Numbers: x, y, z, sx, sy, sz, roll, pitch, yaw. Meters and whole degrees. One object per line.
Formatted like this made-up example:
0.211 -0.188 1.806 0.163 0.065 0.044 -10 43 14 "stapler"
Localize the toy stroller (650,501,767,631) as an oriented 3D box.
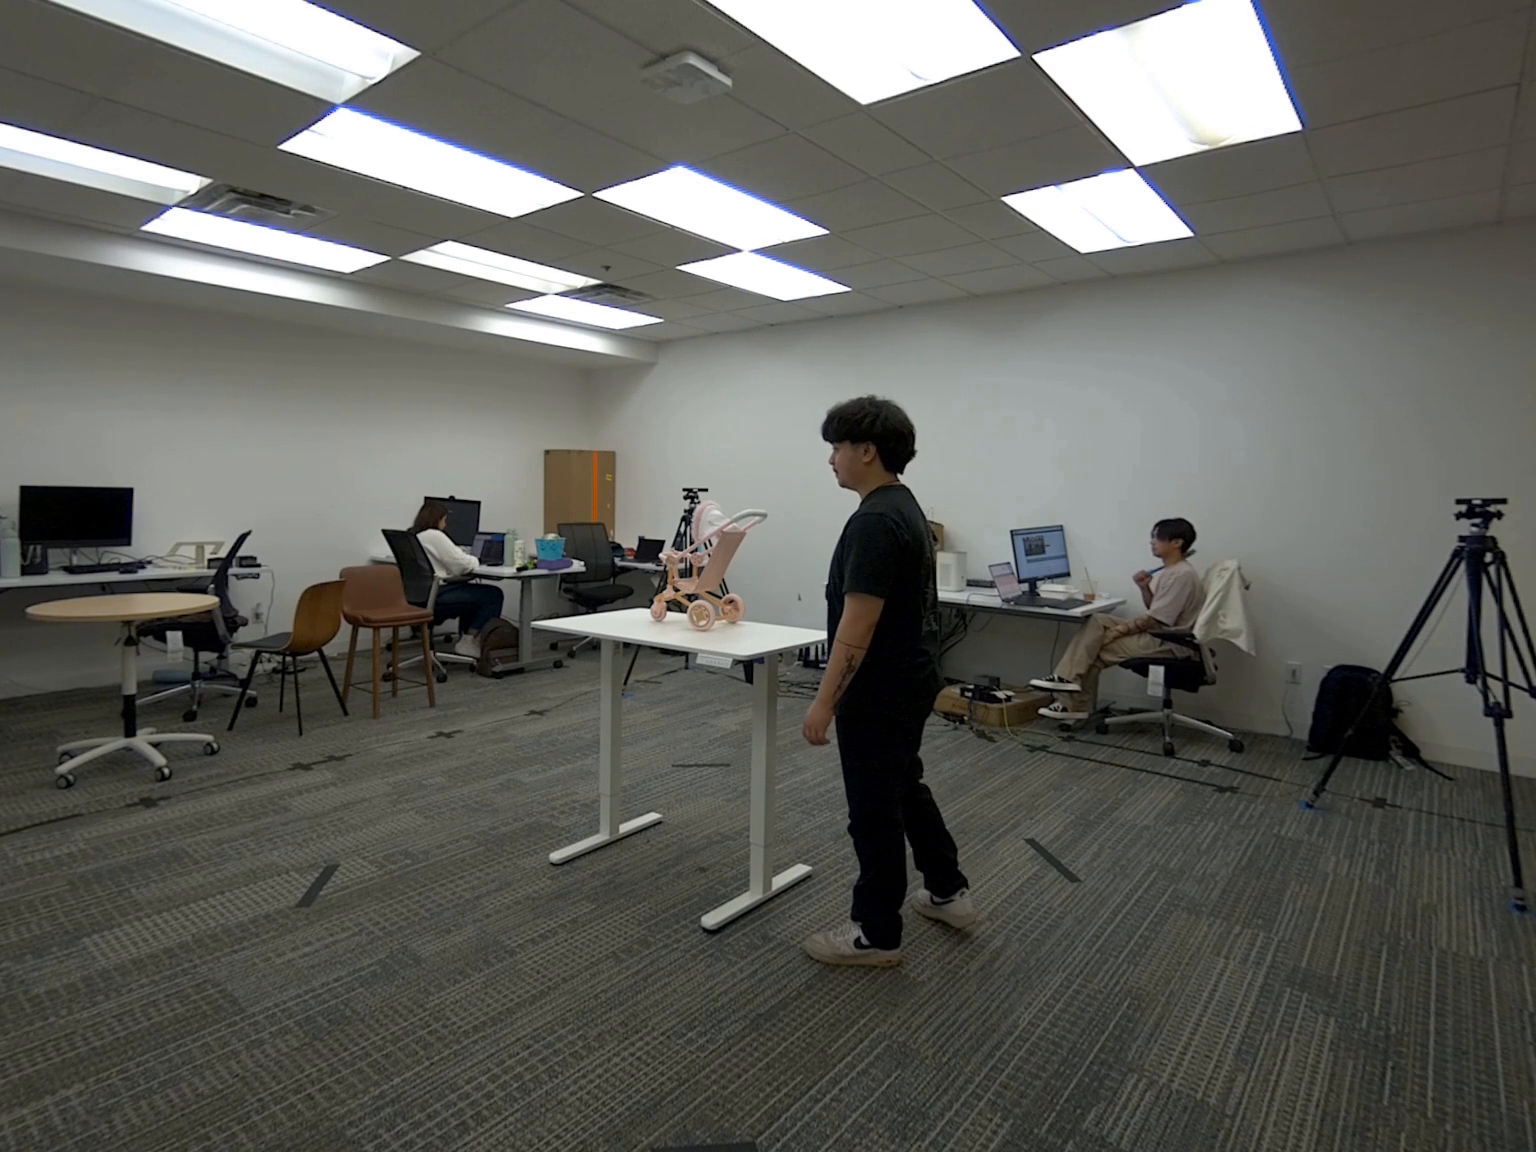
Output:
-0.252 -0.041 3.159 0.353 0.531 0.274 20 11 28 "toy stroller"
